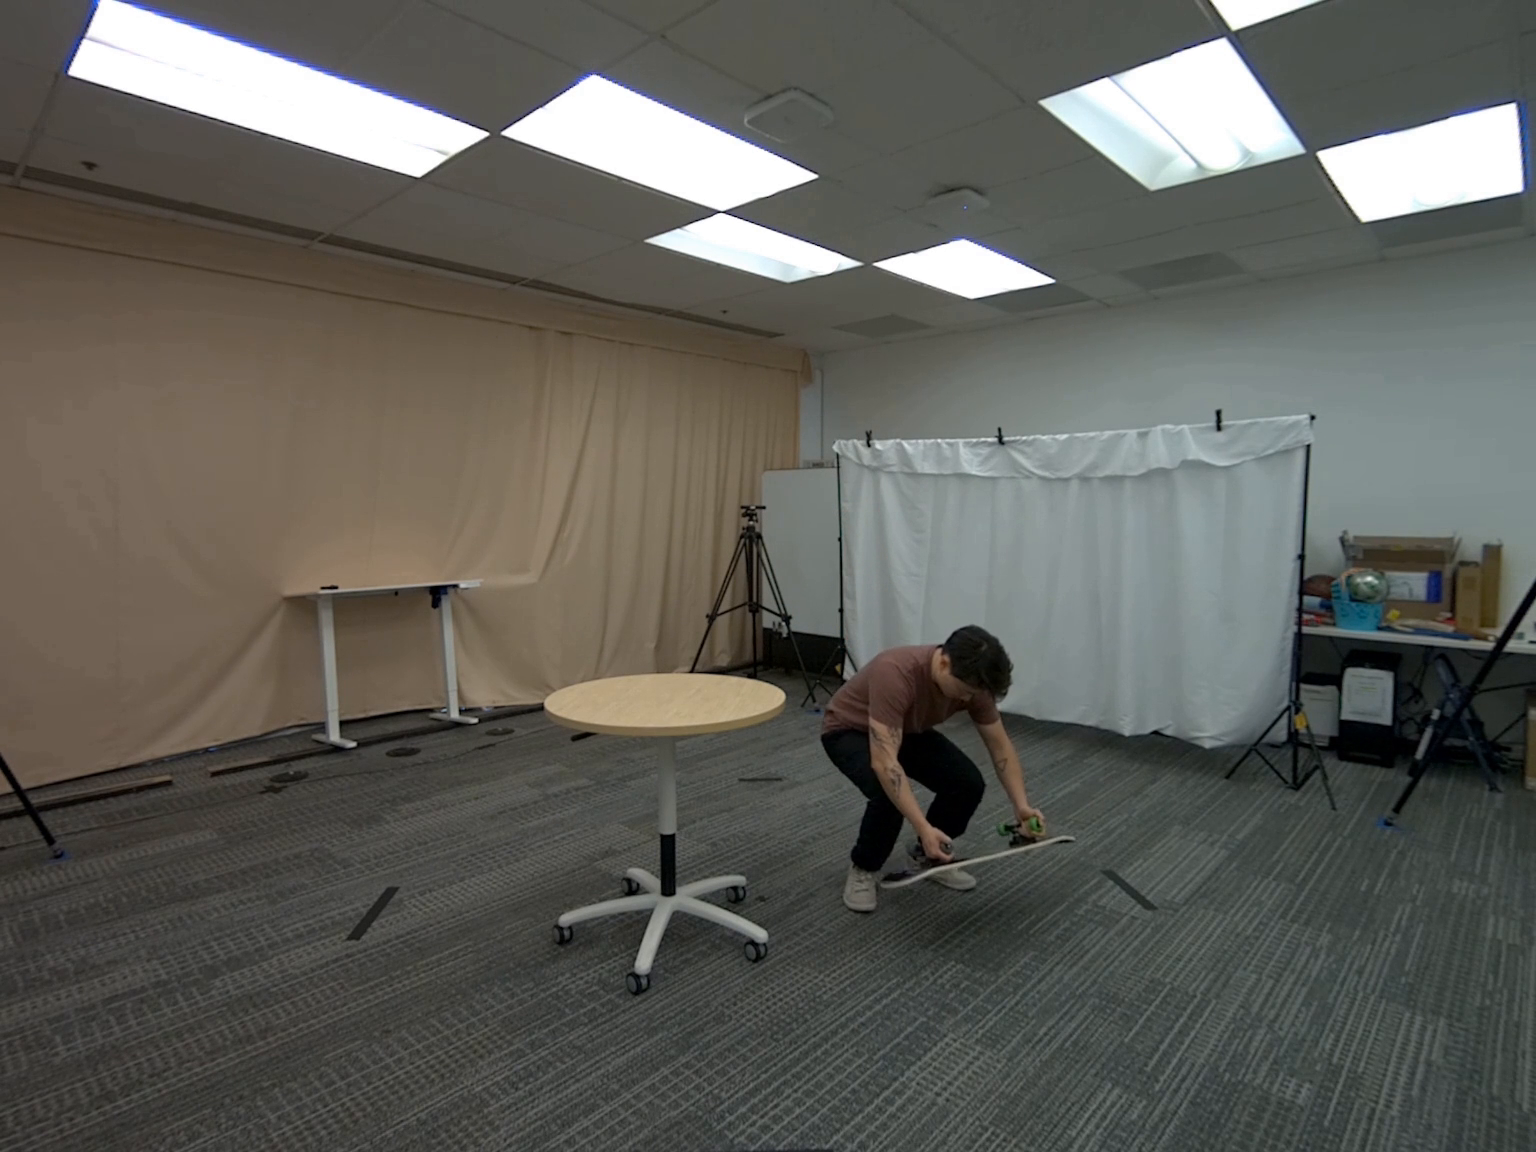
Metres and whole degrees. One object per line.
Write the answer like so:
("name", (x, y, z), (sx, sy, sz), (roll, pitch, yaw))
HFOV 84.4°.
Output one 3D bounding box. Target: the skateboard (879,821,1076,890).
("skateboard", (0.687, 0.888, 2.763), (0.766, 0.112, 0.195), (-3, -19, -26))
